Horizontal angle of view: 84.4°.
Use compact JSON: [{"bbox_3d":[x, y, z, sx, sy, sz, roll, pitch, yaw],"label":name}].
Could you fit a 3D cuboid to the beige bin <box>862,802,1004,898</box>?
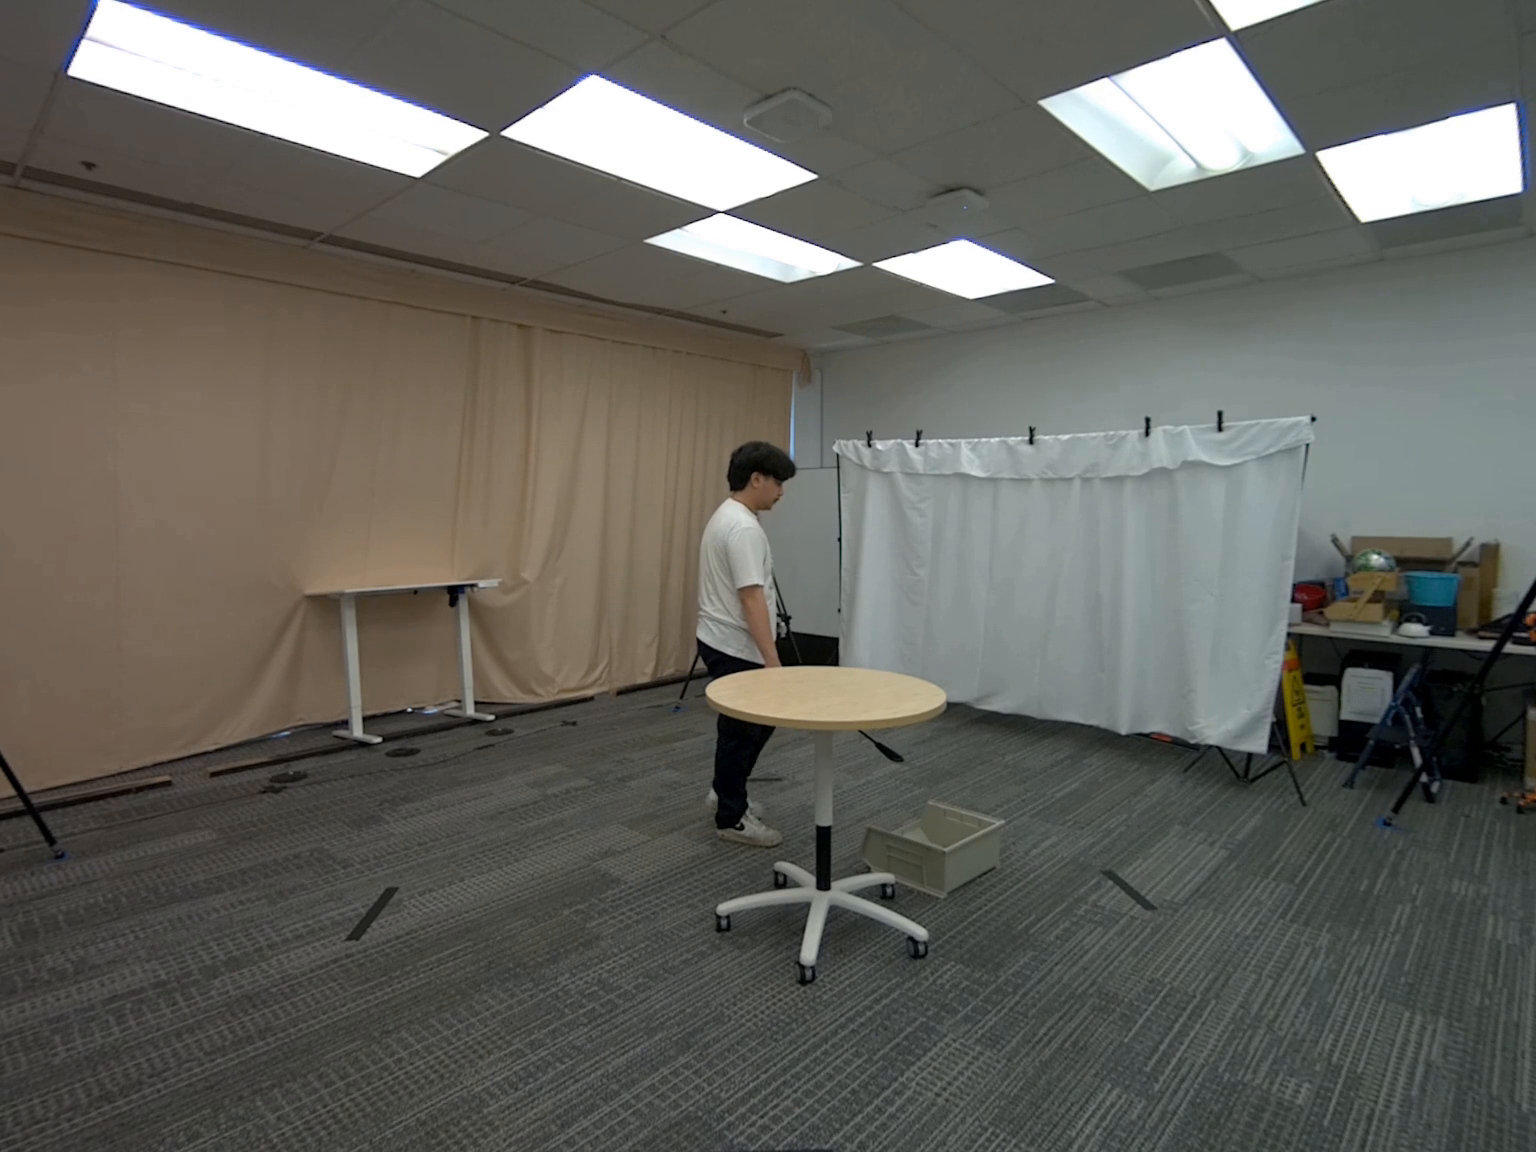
[{"bbox_3d":[0.635,1.033,3.235,0.390,0.188,0.409,5,6,45],"label":"beige bin"}]
